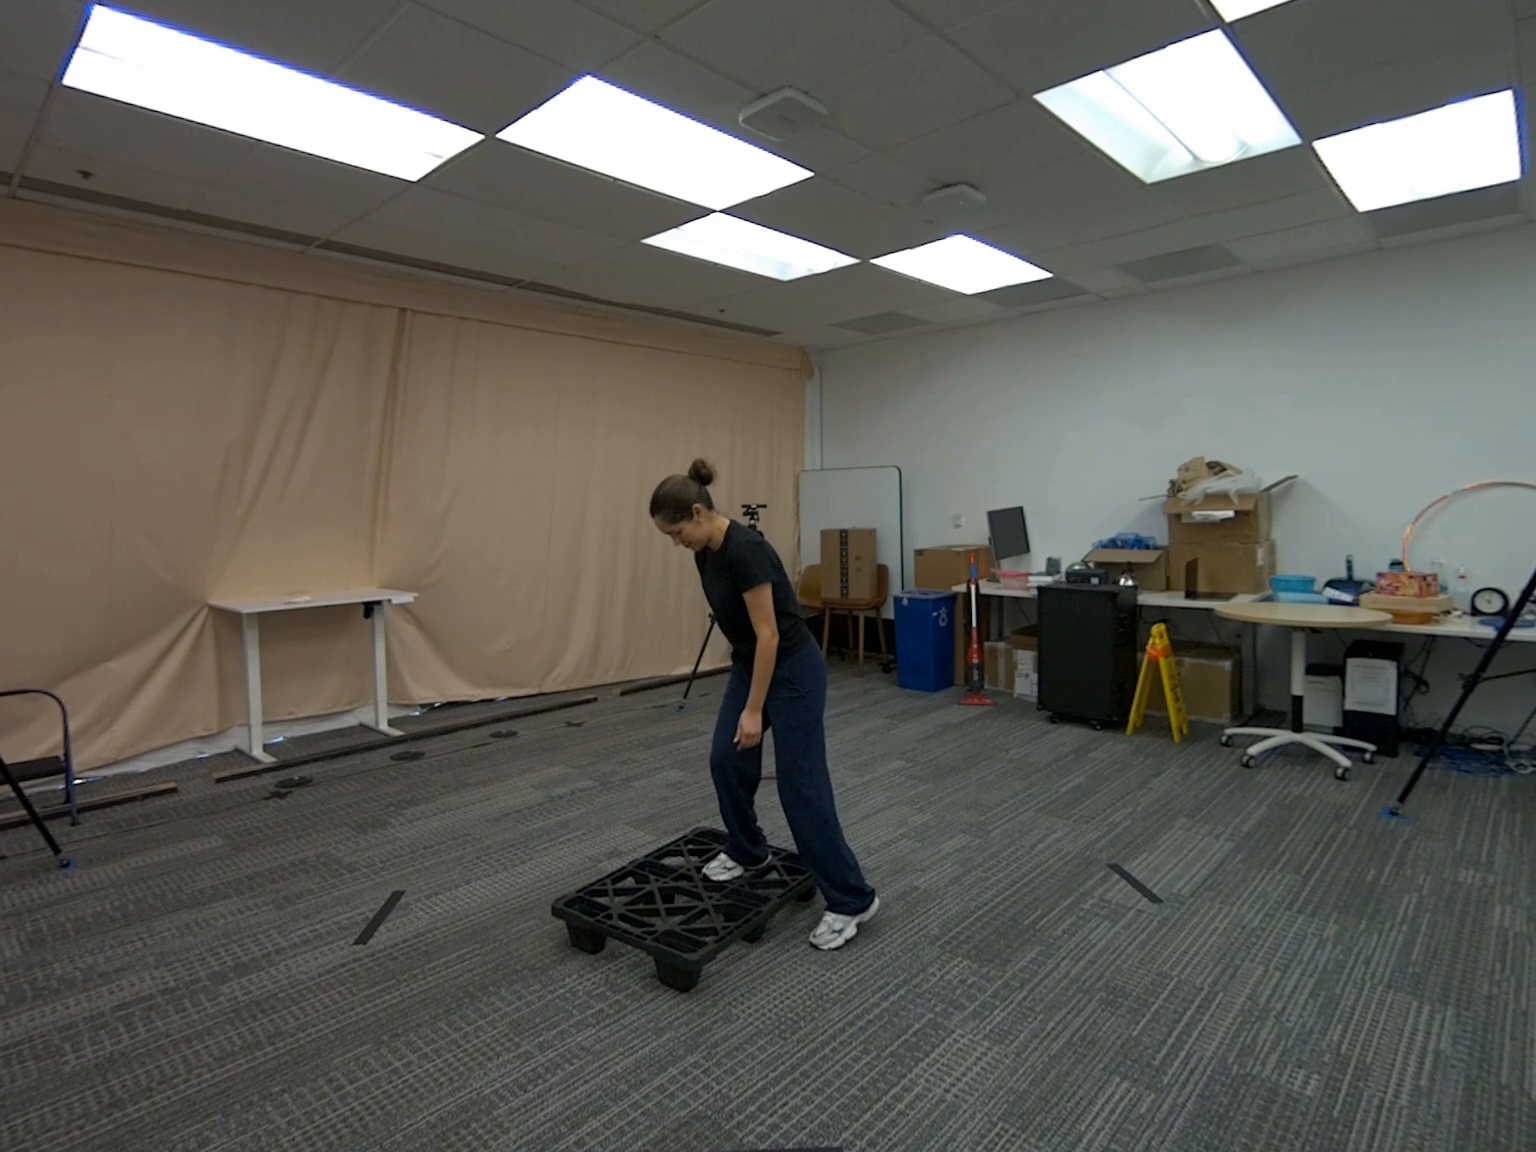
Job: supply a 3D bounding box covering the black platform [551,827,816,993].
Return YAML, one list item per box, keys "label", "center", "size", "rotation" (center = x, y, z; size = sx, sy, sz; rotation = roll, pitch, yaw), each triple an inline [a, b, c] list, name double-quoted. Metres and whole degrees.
- label: "black platform"
  center: [-0.211, 1.090, 2.830]
  size: [0.624, 0.143, 0.783]
  rotation: [3, 6, 34]
